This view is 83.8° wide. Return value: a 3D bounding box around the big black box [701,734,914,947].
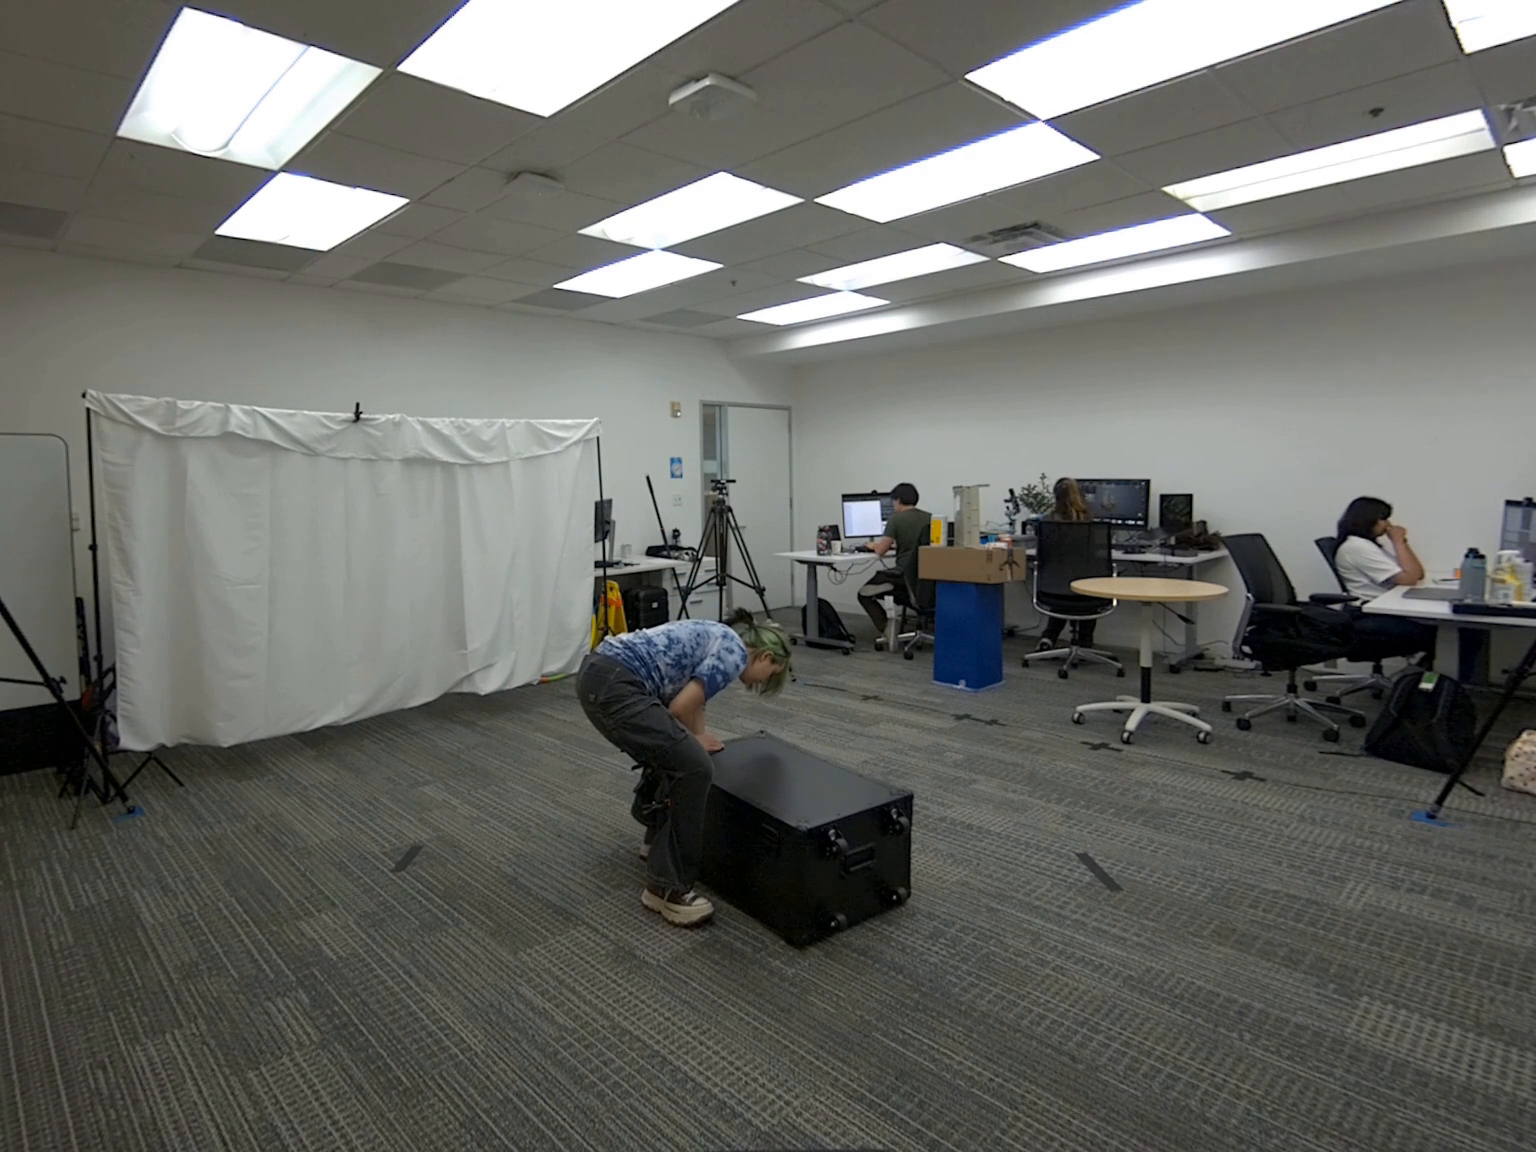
[{"bbox_3d":[0.063,0.869,2.928,0.508,0.394,0.888,-5,8,-36],"label":"big black box"}]
